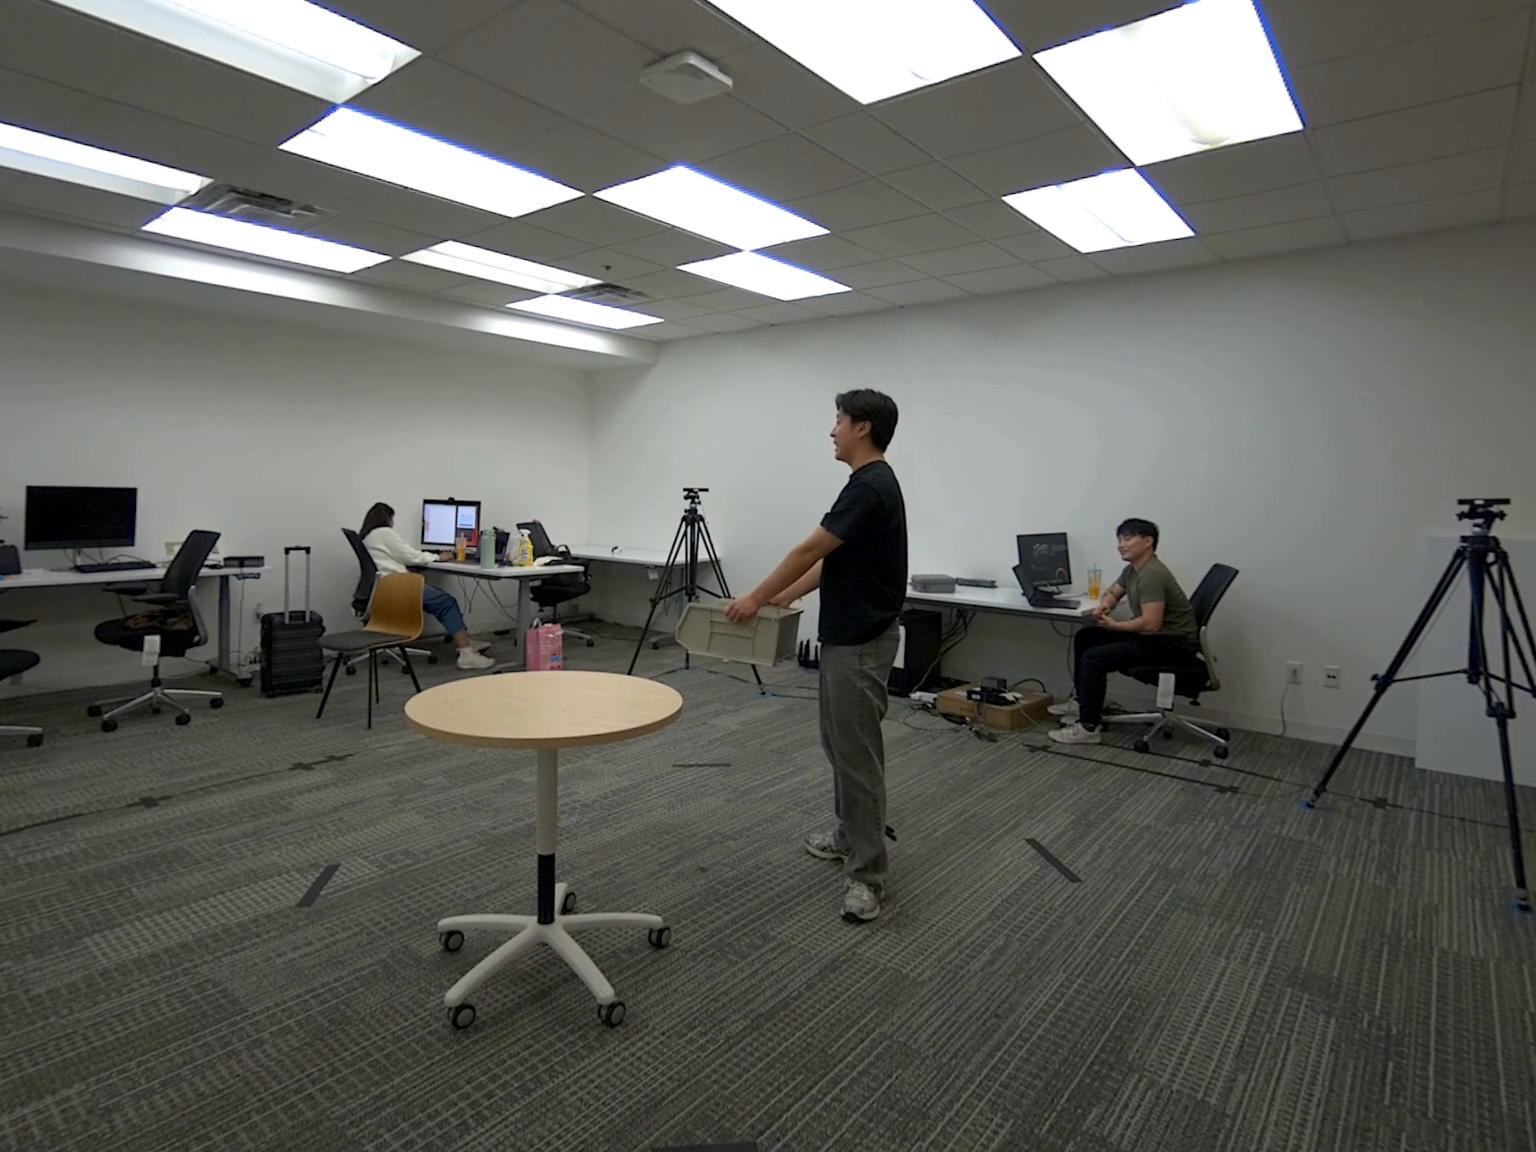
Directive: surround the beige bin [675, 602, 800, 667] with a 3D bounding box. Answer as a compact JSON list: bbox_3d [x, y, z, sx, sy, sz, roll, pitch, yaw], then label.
[{"bbox_3d":[-0.108,0.197,3.182,0.384,0.189,0.415,9,2,14],"label":"beige bin"}]
